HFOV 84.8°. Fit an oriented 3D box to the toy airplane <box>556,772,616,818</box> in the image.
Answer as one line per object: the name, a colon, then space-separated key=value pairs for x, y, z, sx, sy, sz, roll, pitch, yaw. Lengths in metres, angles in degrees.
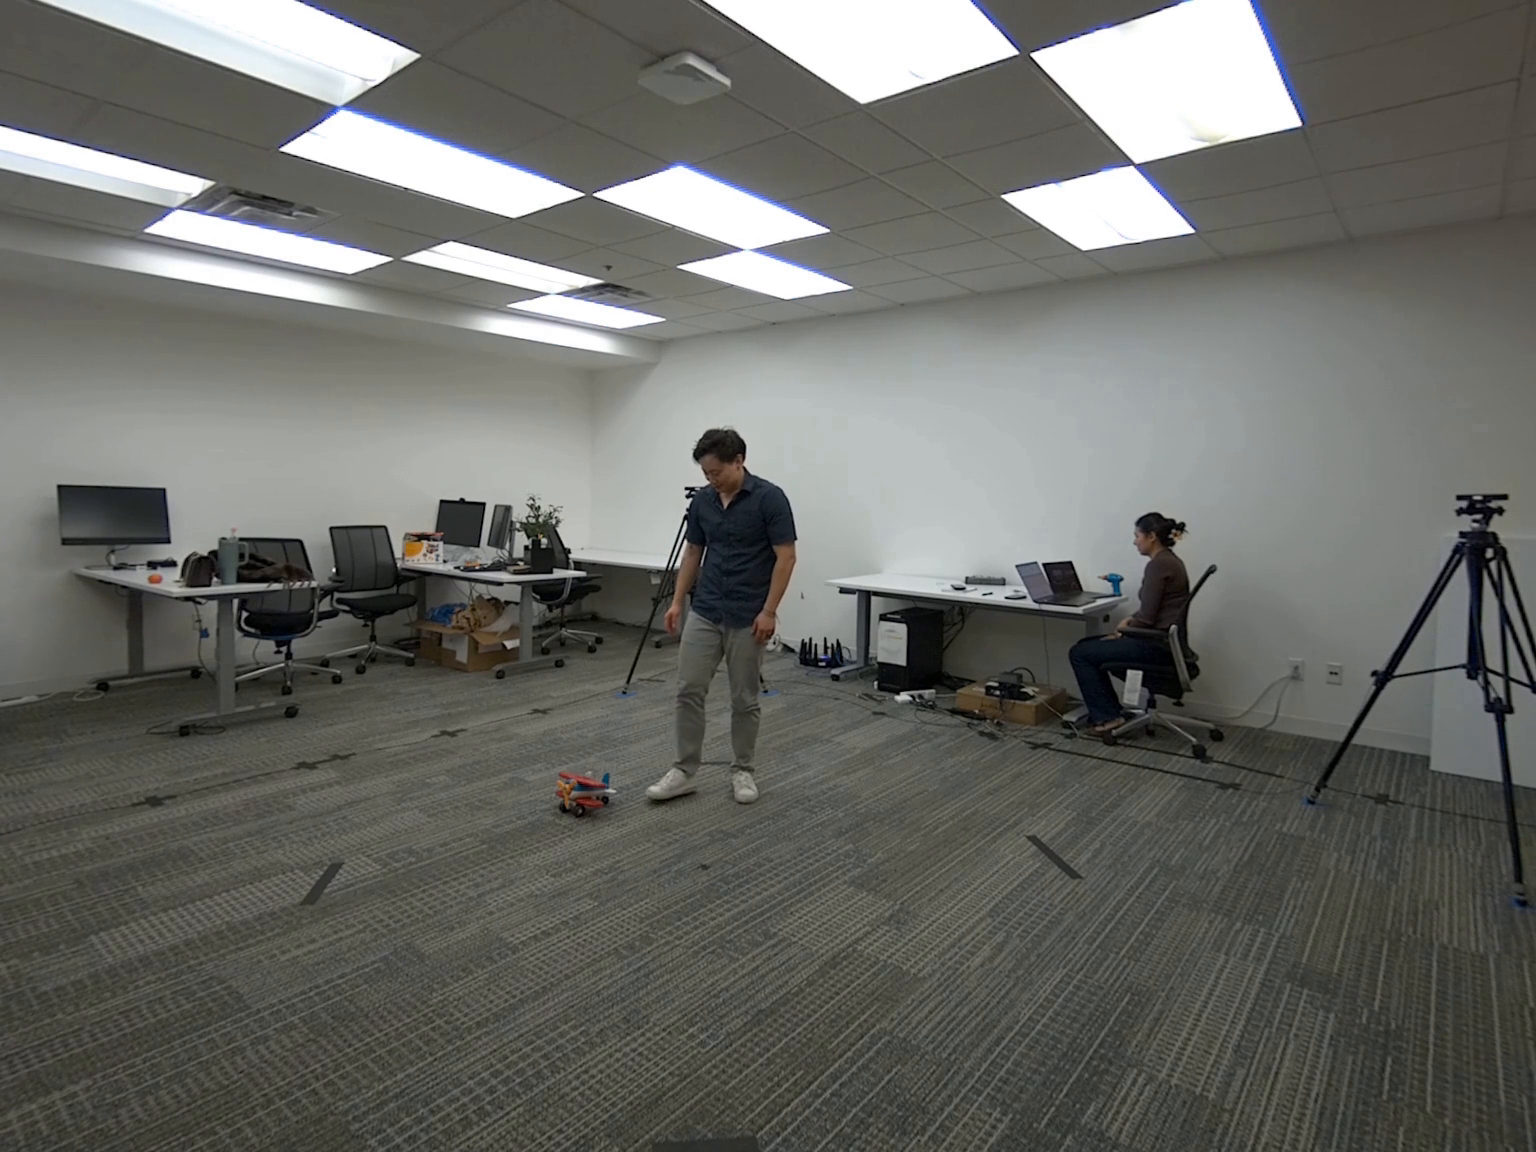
toy airplane: x=-0.810 y=0.926 z=3.674 sx=0.254 sy=0.156 sz=0.257 roll=0 pitch=5 yaw=9
